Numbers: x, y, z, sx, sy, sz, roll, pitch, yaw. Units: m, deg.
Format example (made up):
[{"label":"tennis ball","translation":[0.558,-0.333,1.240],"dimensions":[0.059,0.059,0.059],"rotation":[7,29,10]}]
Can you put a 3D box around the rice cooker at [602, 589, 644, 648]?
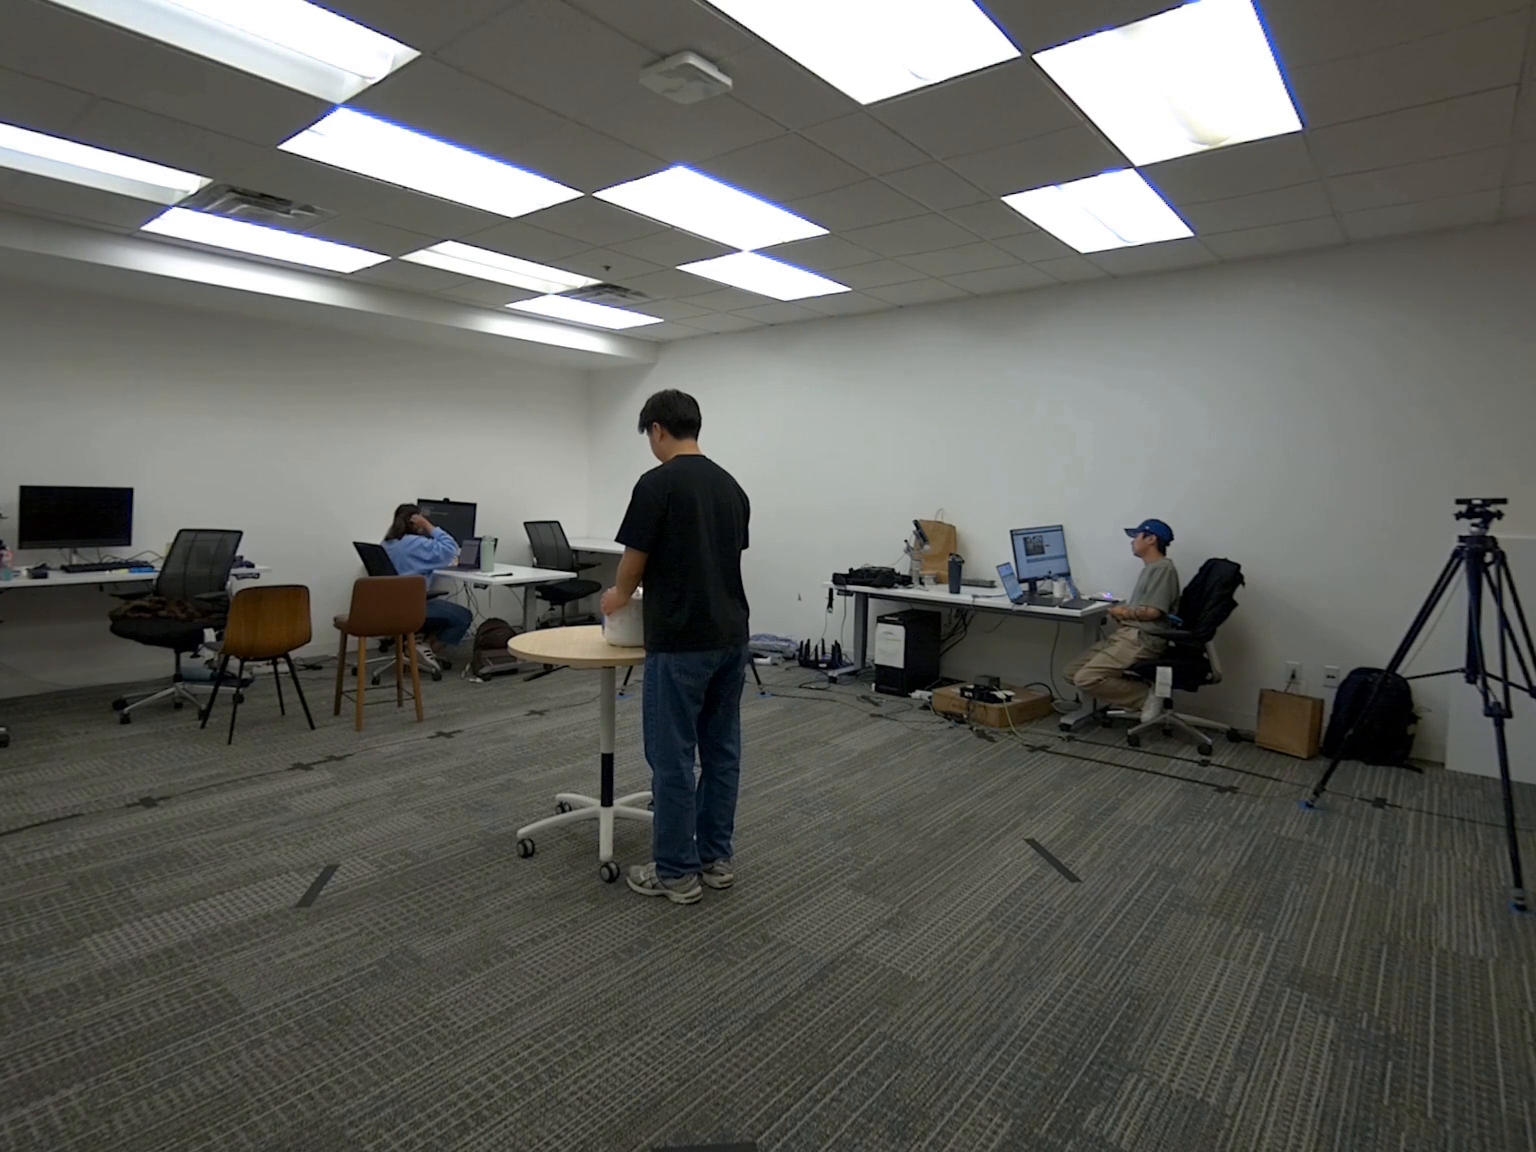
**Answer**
[{"label":"rice cooker","translation":[-0.525,0.139,3.236],"dimensions":[0.213,0.232,0.226],"rotation":[0,6,-19]}]
